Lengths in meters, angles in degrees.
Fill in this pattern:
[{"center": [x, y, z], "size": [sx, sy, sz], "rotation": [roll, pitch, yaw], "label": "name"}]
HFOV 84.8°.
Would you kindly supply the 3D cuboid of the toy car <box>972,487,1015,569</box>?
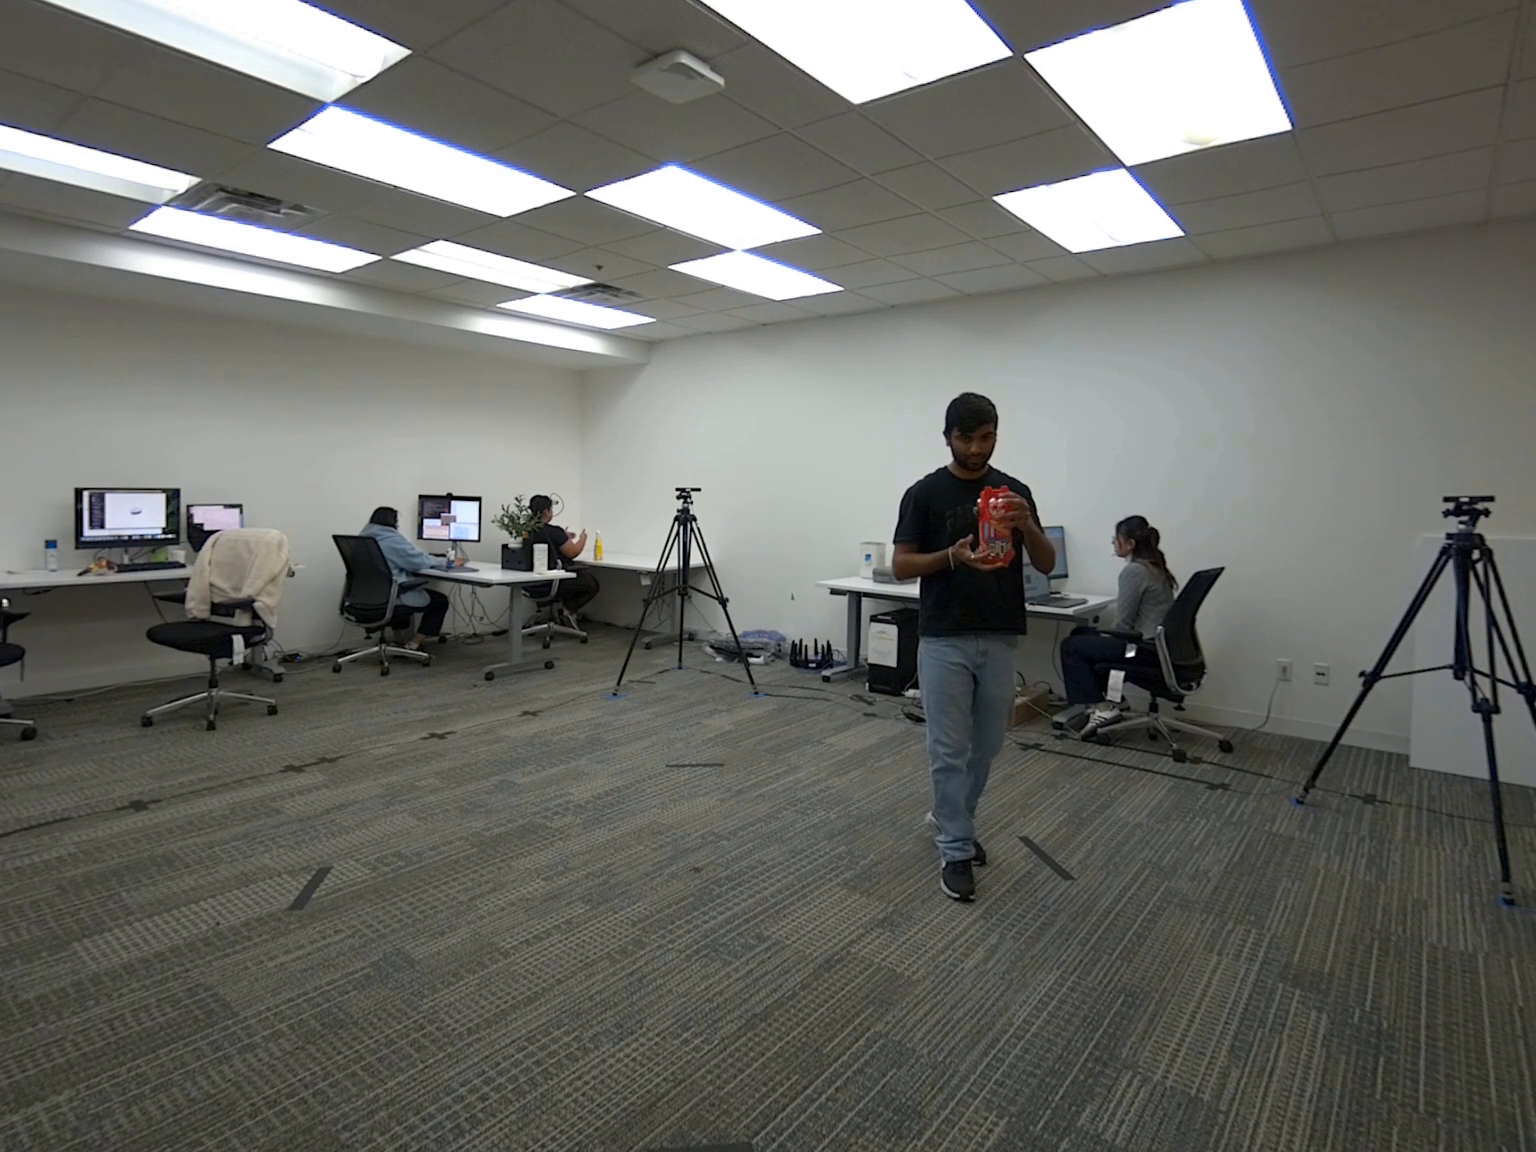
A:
[{"center": [0.742, -0.164, 2.770], "size": [0.130, 0.251, 0.084], "rotation": [2, 14, -1], "label": "toy car"}]
